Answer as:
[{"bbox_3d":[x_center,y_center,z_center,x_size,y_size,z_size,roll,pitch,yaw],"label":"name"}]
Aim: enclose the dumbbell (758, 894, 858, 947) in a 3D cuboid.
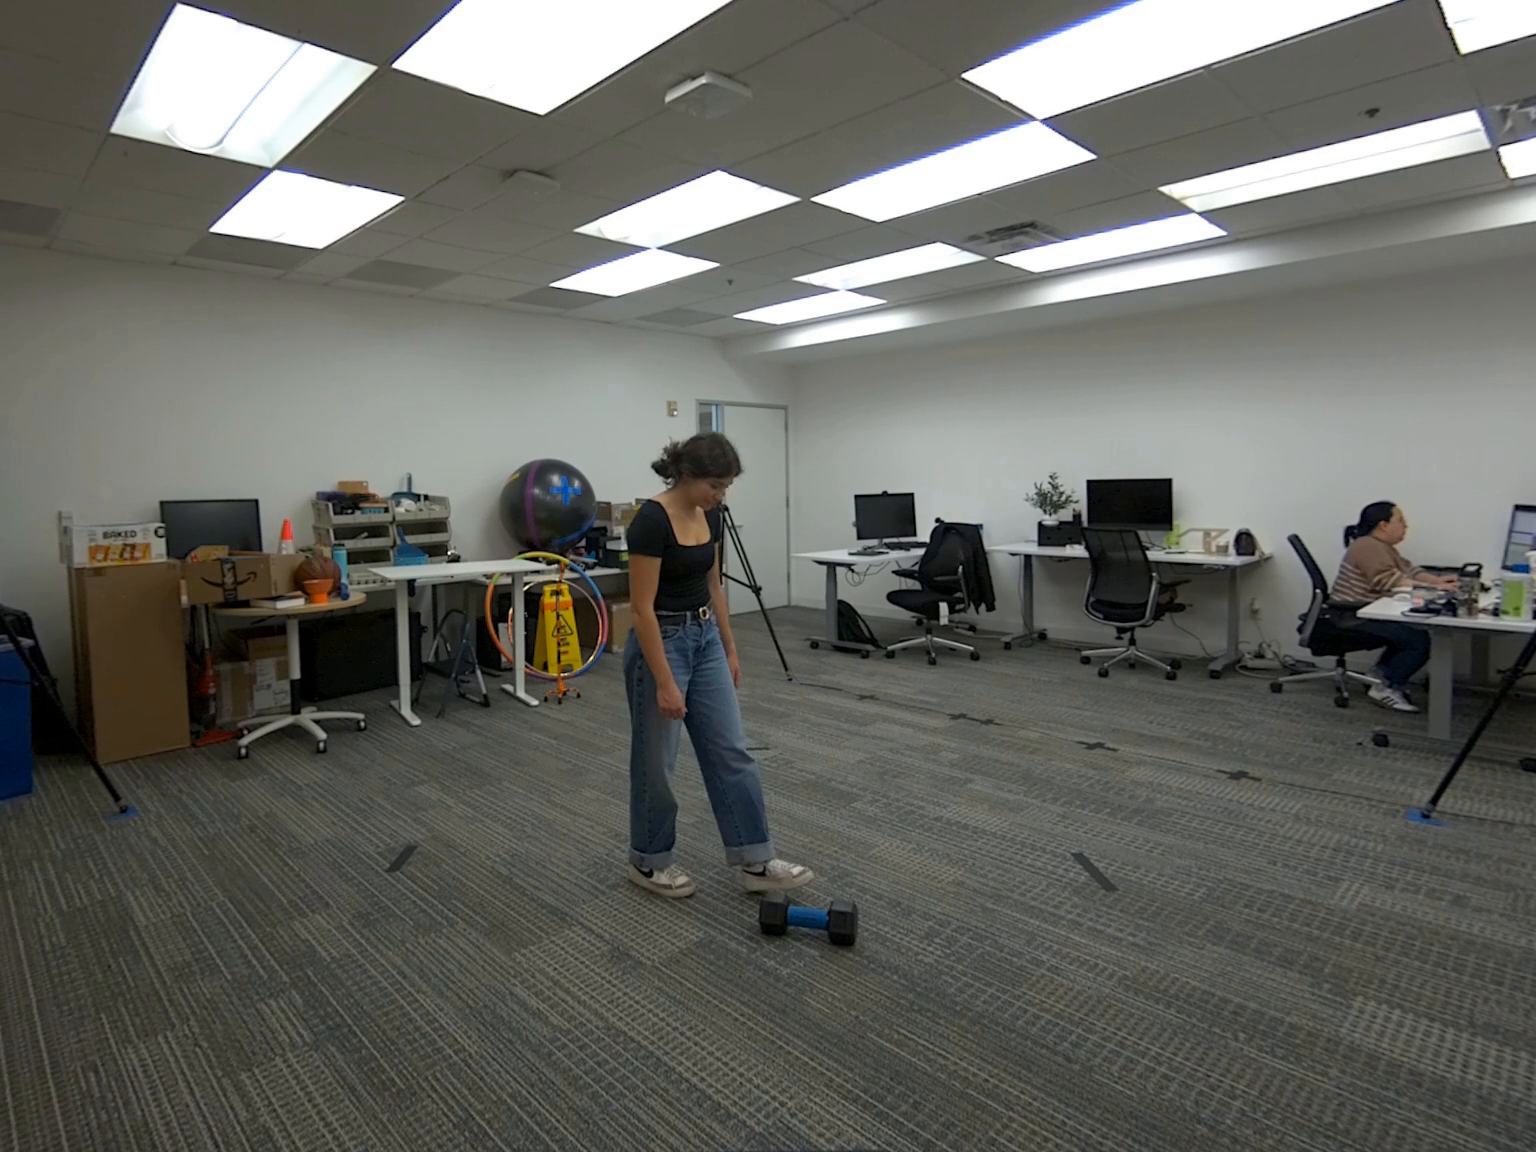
[{"bbox_3d":[0.128,1.046,2.608,0.298,0.119,0.110,1,35,16],"label":"dumbbell"}]
